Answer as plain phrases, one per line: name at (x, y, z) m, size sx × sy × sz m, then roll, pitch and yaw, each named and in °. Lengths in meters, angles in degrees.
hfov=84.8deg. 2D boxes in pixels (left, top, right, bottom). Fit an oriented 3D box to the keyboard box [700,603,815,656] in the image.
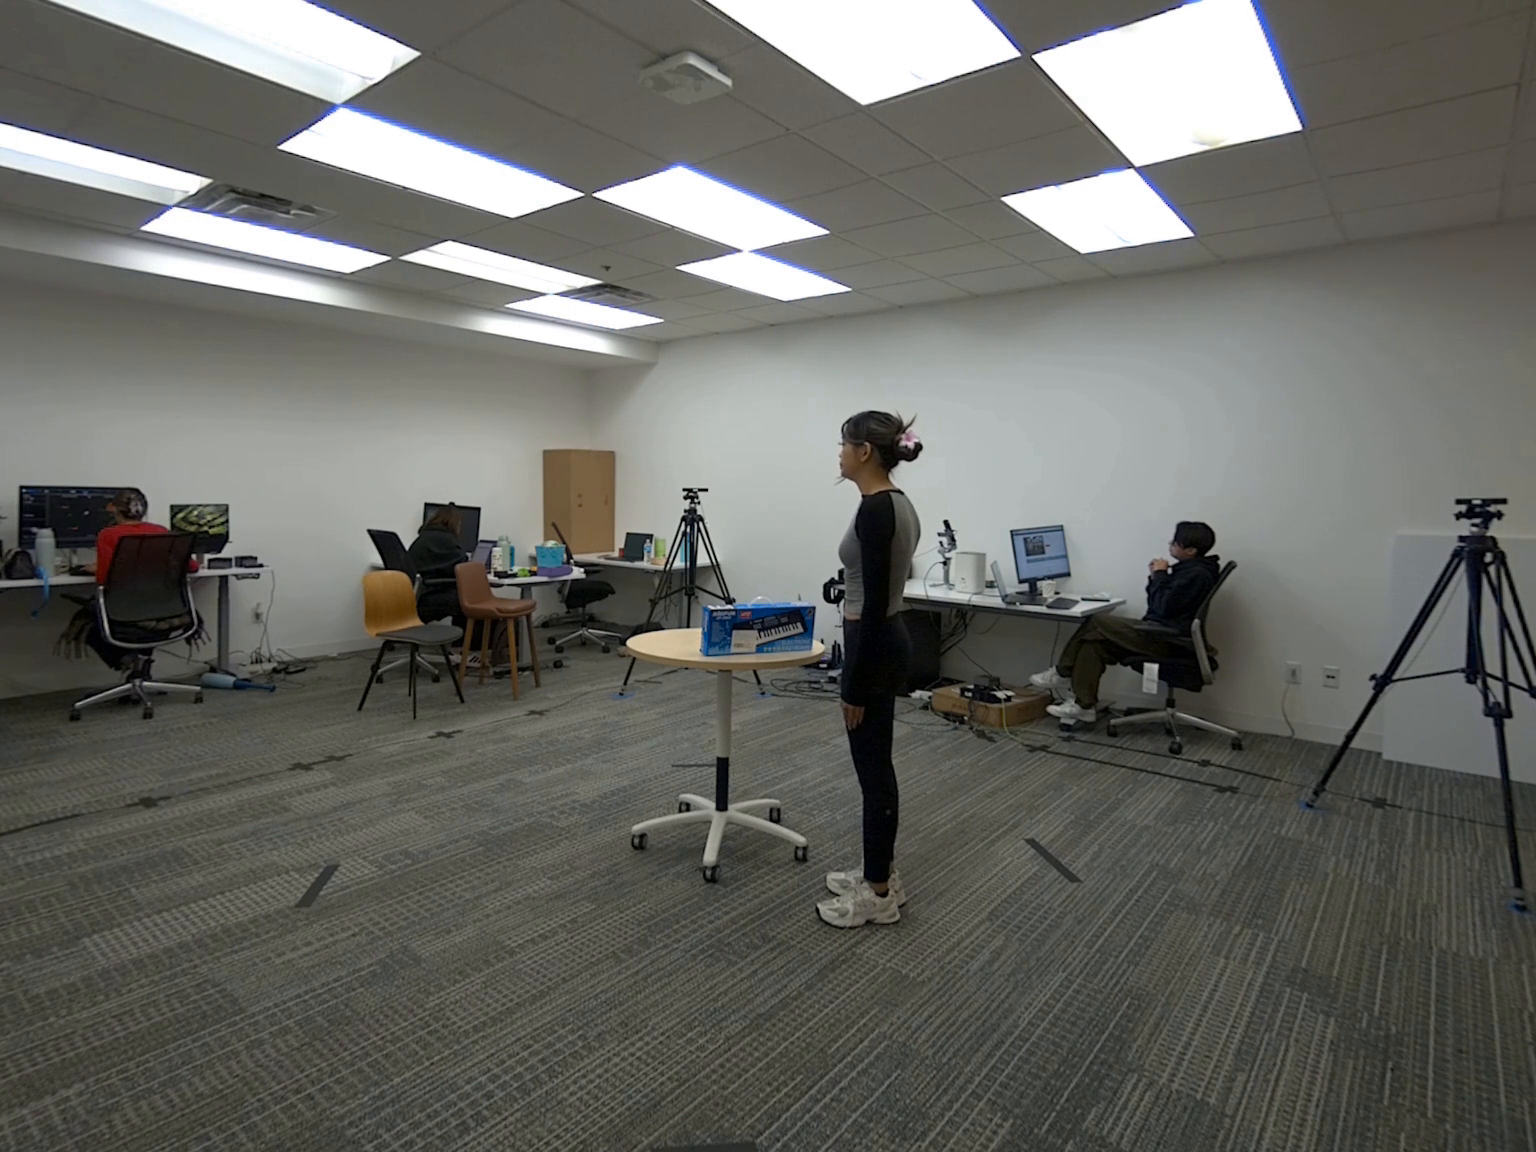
keyboard box at (-0.040, 0.192, 3.109) m, size 0.426 × 0.175 × 0.061 m, roll -1°, pitch 9°, yaw -25°
